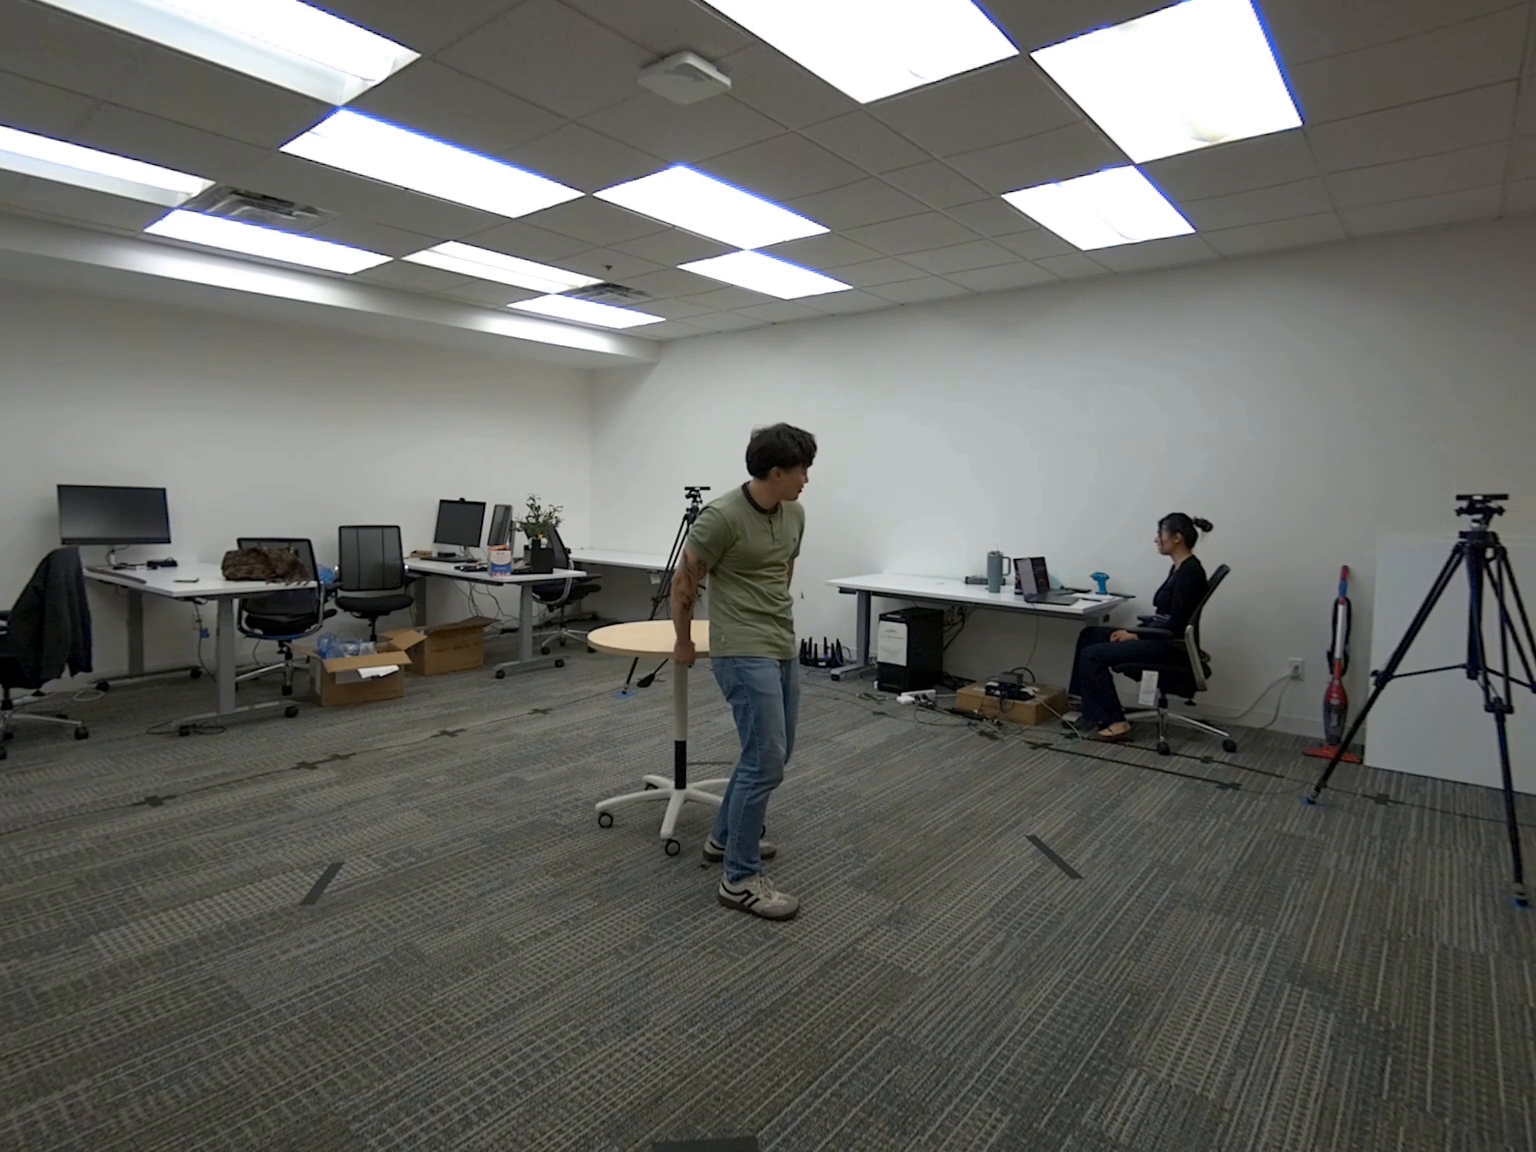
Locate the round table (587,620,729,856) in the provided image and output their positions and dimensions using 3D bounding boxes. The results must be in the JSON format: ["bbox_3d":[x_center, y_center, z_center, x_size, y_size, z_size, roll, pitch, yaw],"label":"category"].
[{"bbox_3d":[-0.374,0.632,3.522,0.763,0.792,0.767,0,4,-2],"label":"round table"}]
